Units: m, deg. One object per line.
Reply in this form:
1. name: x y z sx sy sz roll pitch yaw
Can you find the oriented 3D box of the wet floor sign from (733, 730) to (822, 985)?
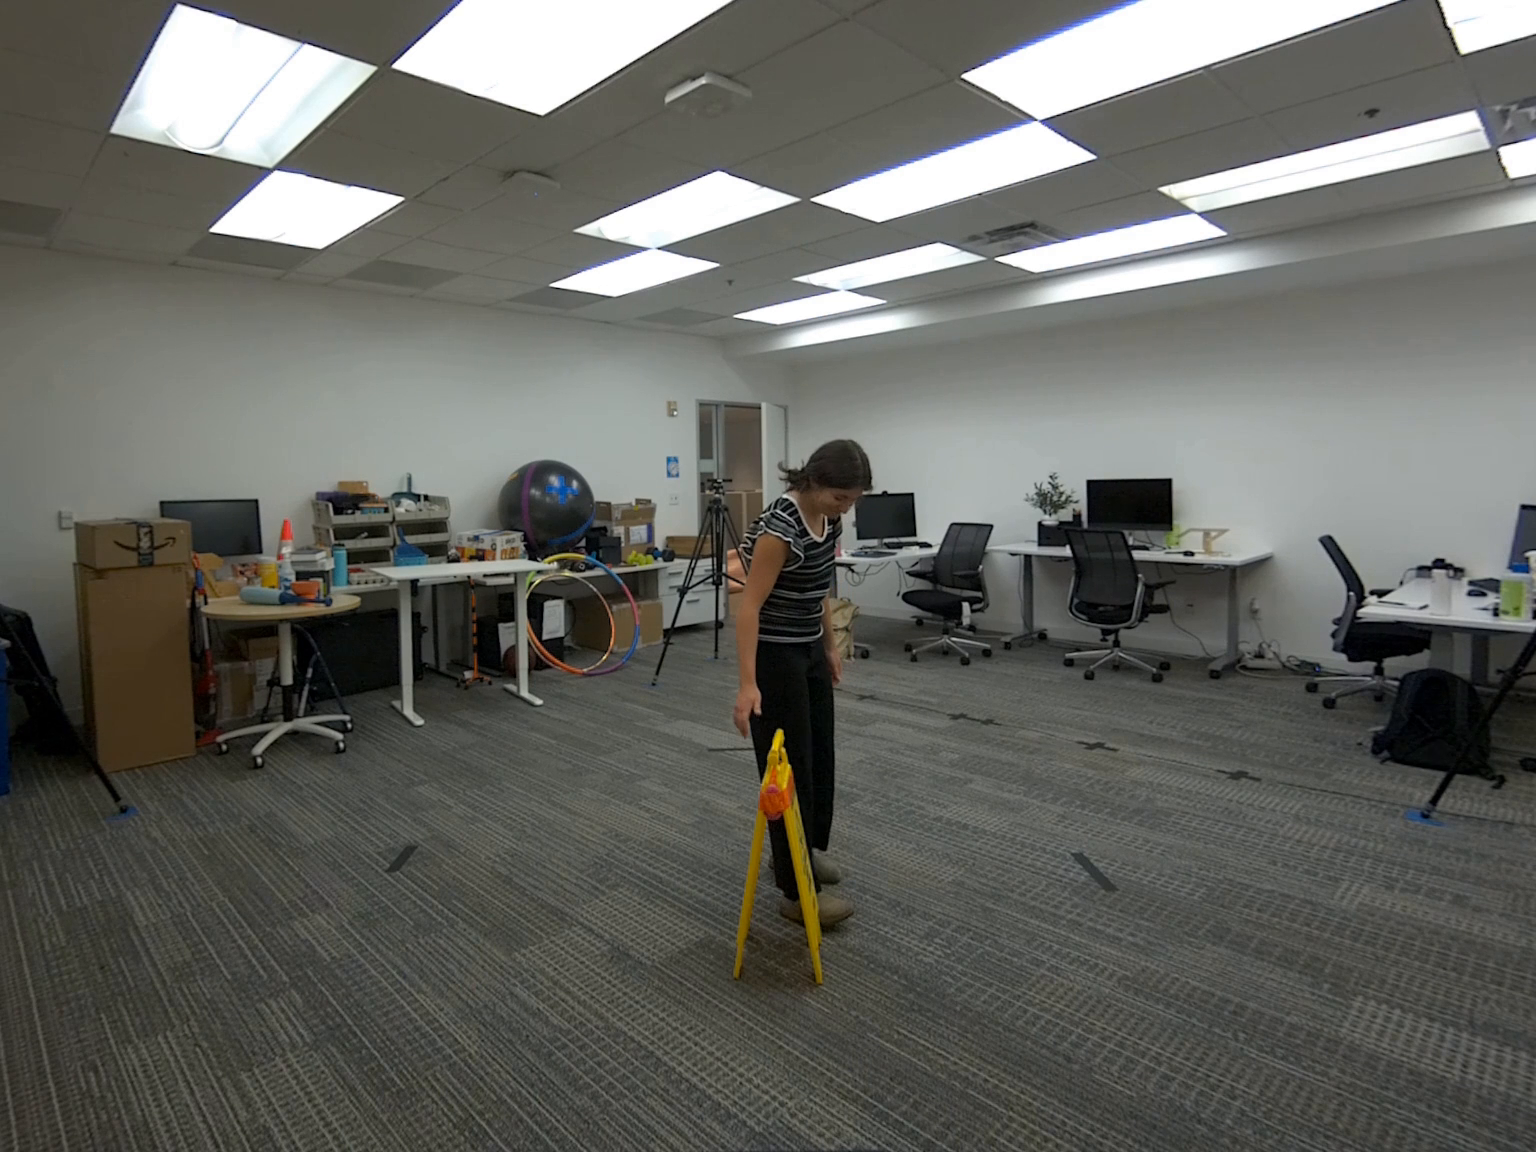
1. wet floor sign: 0.028 0.794 2.480 0.291 0.644 0.281 -2 4 6
